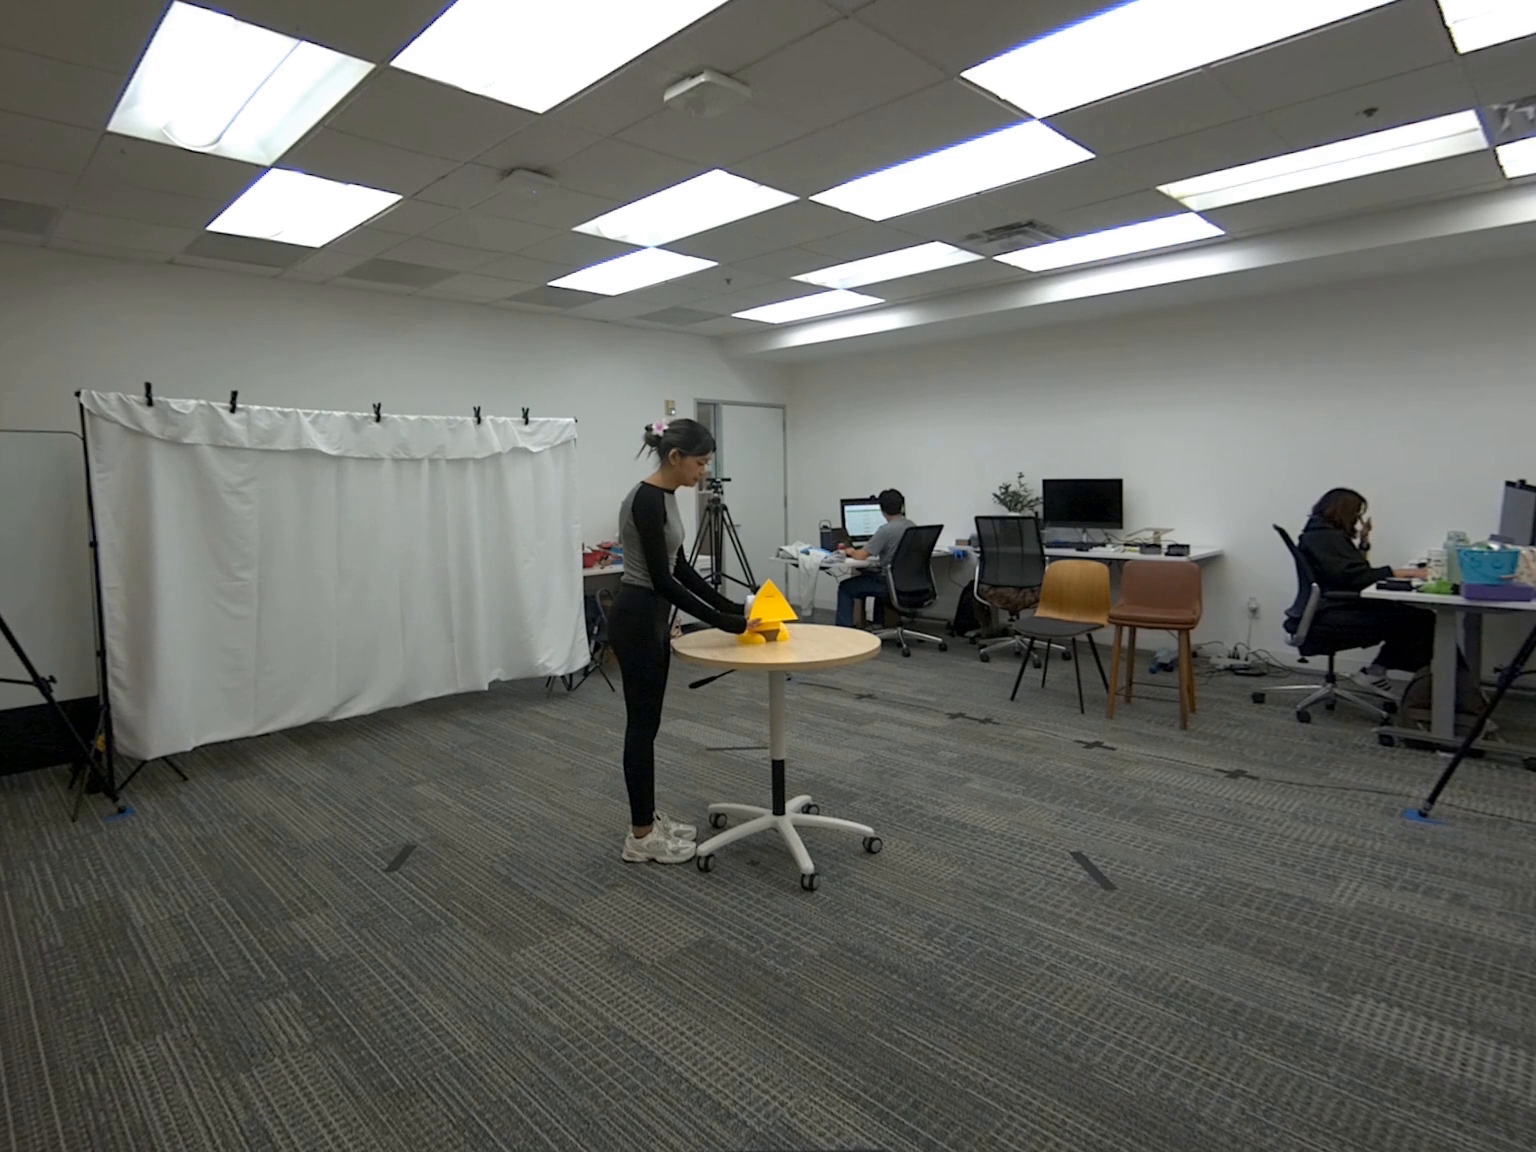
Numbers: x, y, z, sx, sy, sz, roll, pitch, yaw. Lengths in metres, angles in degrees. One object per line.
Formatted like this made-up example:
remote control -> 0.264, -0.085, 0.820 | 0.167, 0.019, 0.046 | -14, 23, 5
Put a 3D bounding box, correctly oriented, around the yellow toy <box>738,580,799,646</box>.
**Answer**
yellow toy -> -0.024, 0.121, 3.204 | 0.200, 0.230, 0.198 | -2, 4, -25
